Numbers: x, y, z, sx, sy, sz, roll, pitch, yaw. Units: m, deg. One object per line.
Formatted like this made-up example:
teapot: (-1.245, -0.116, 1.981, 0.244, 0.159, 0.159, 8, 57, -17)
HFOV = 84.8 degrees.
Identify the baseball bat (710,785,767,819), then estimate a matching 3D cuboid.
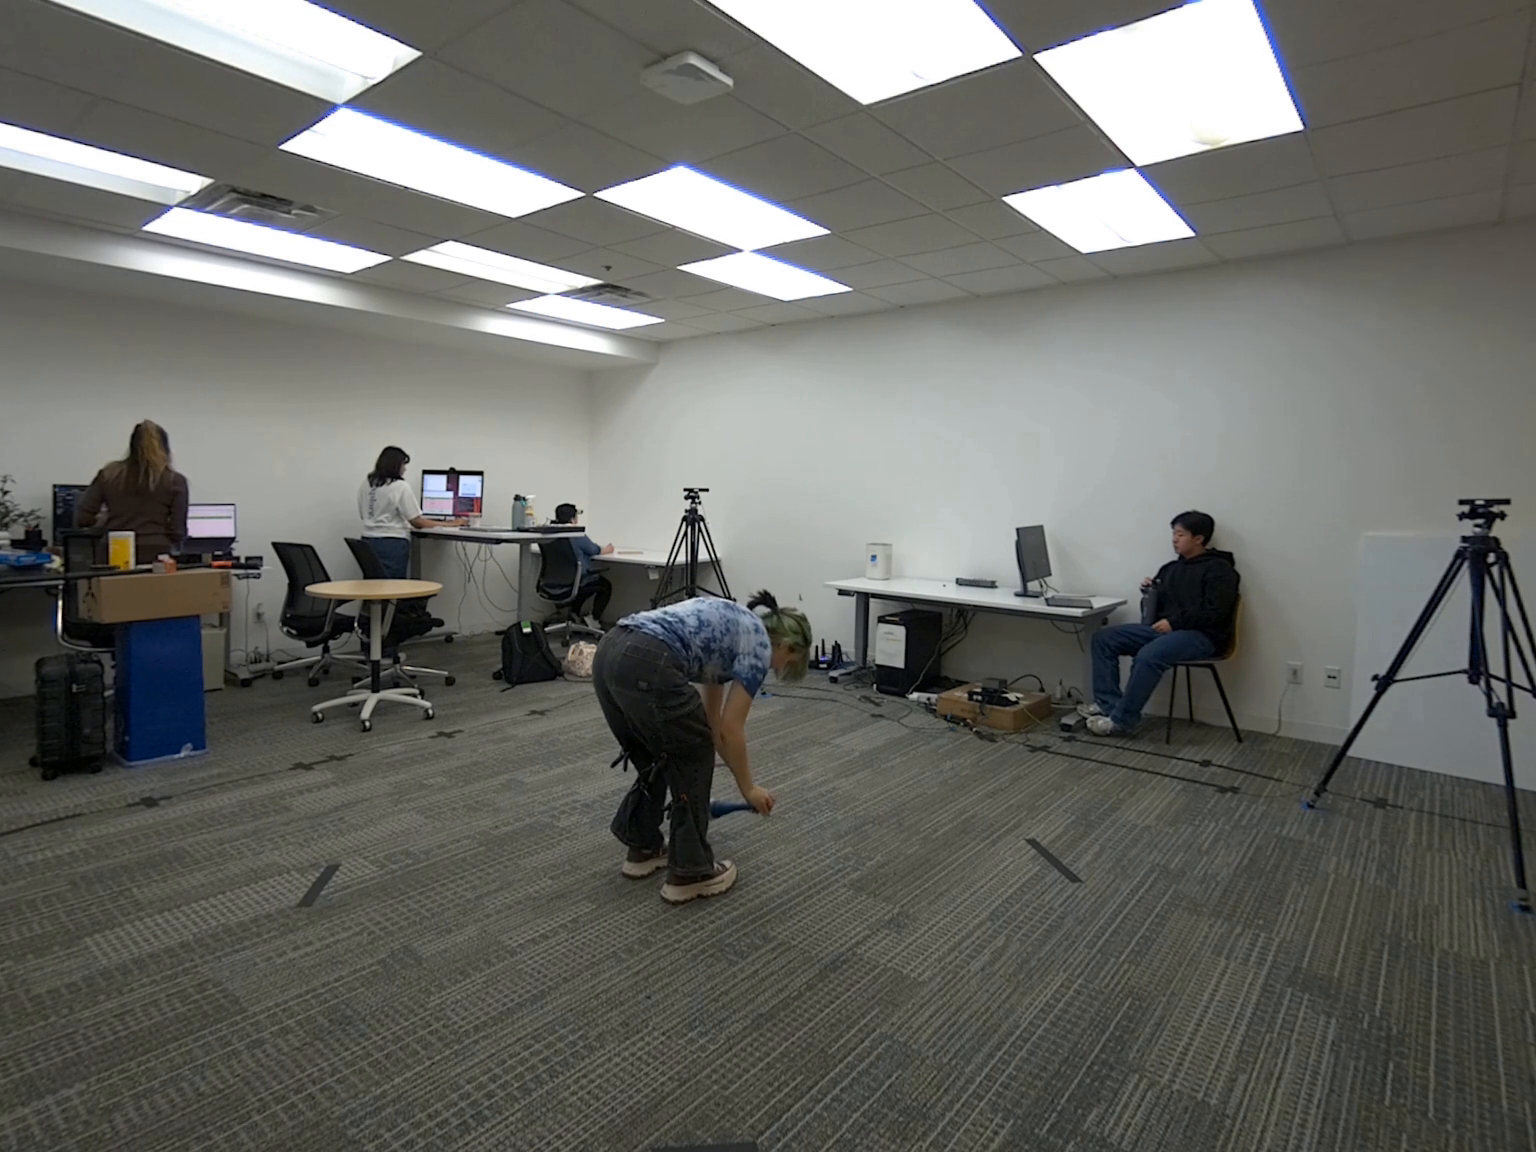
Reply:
baseball bat: (-0.207, 0.870, 3.224, 0.086, 0.090, 0.552, -2, -12, -40)
